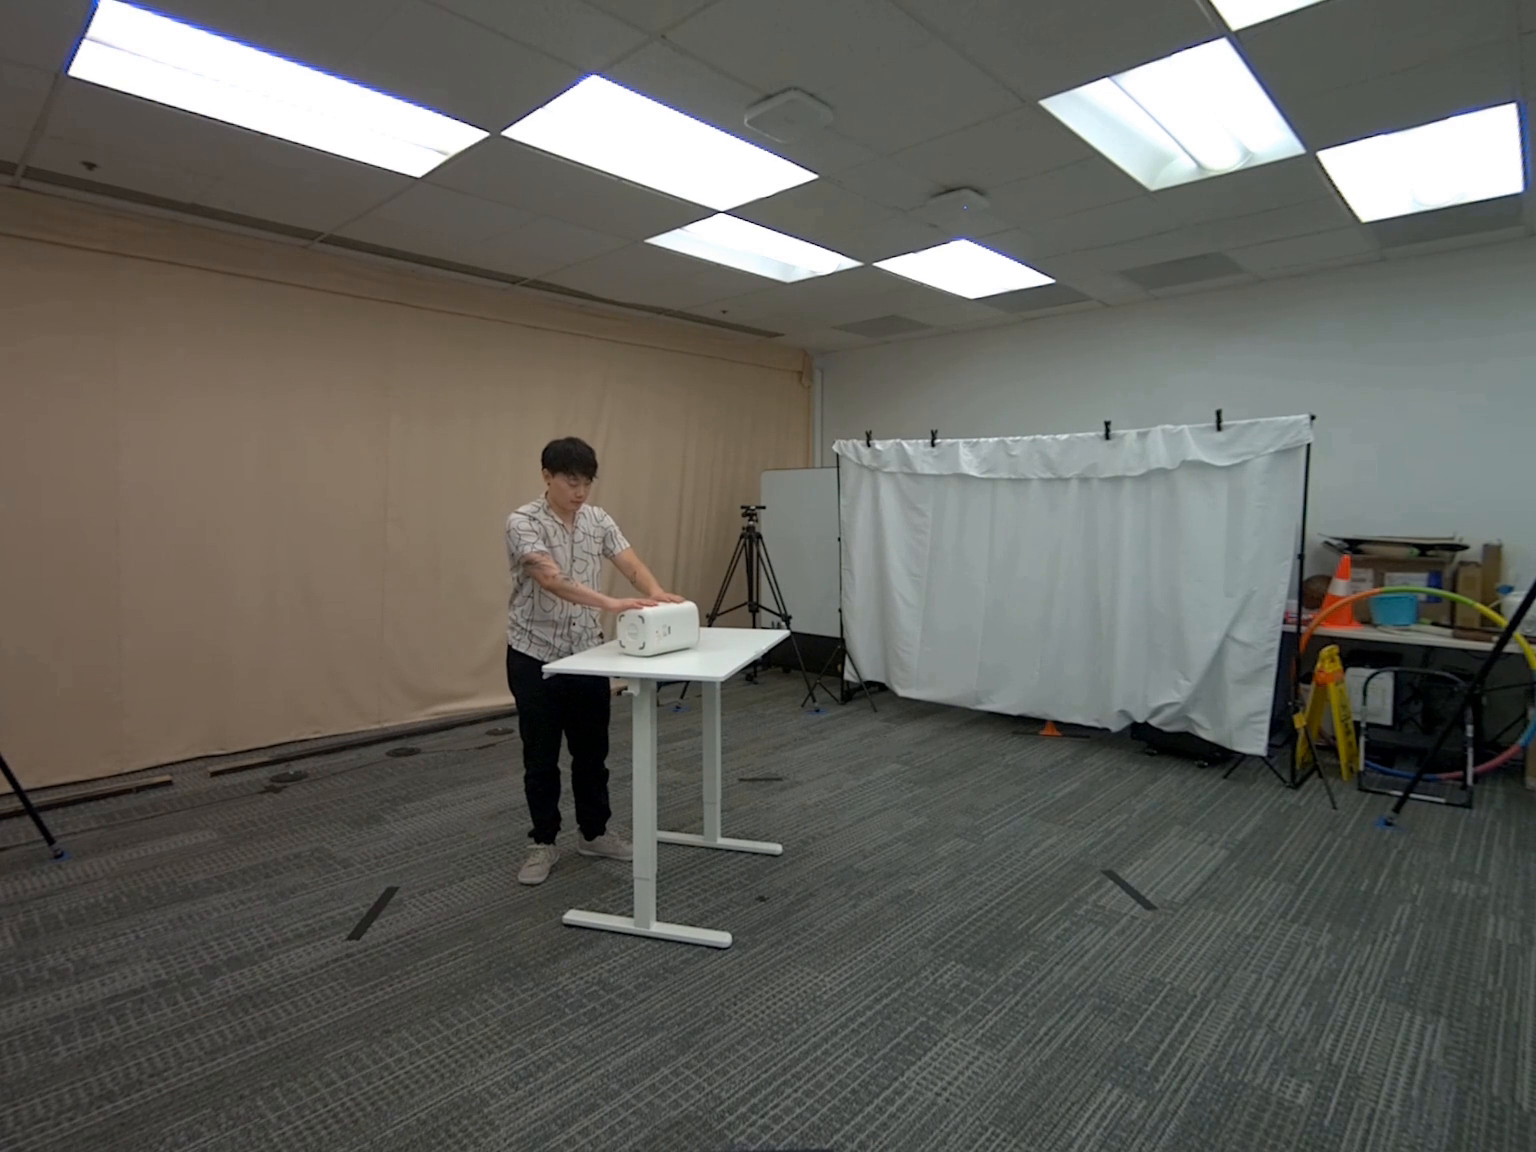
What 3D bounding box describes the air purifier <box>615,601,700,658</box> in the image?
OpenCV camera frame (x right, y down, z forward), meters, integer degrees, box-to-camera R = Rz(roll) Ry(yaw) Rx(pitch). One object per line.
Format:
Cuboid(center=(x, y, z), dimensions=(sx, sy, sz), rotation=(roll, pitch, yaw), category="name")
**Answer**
Cuboid(center=(-0.382, 0.180, 2.943), dimensions=(0.177, 0.171, 0.258), rotation=(1, 3, 35), category="air purifier")
